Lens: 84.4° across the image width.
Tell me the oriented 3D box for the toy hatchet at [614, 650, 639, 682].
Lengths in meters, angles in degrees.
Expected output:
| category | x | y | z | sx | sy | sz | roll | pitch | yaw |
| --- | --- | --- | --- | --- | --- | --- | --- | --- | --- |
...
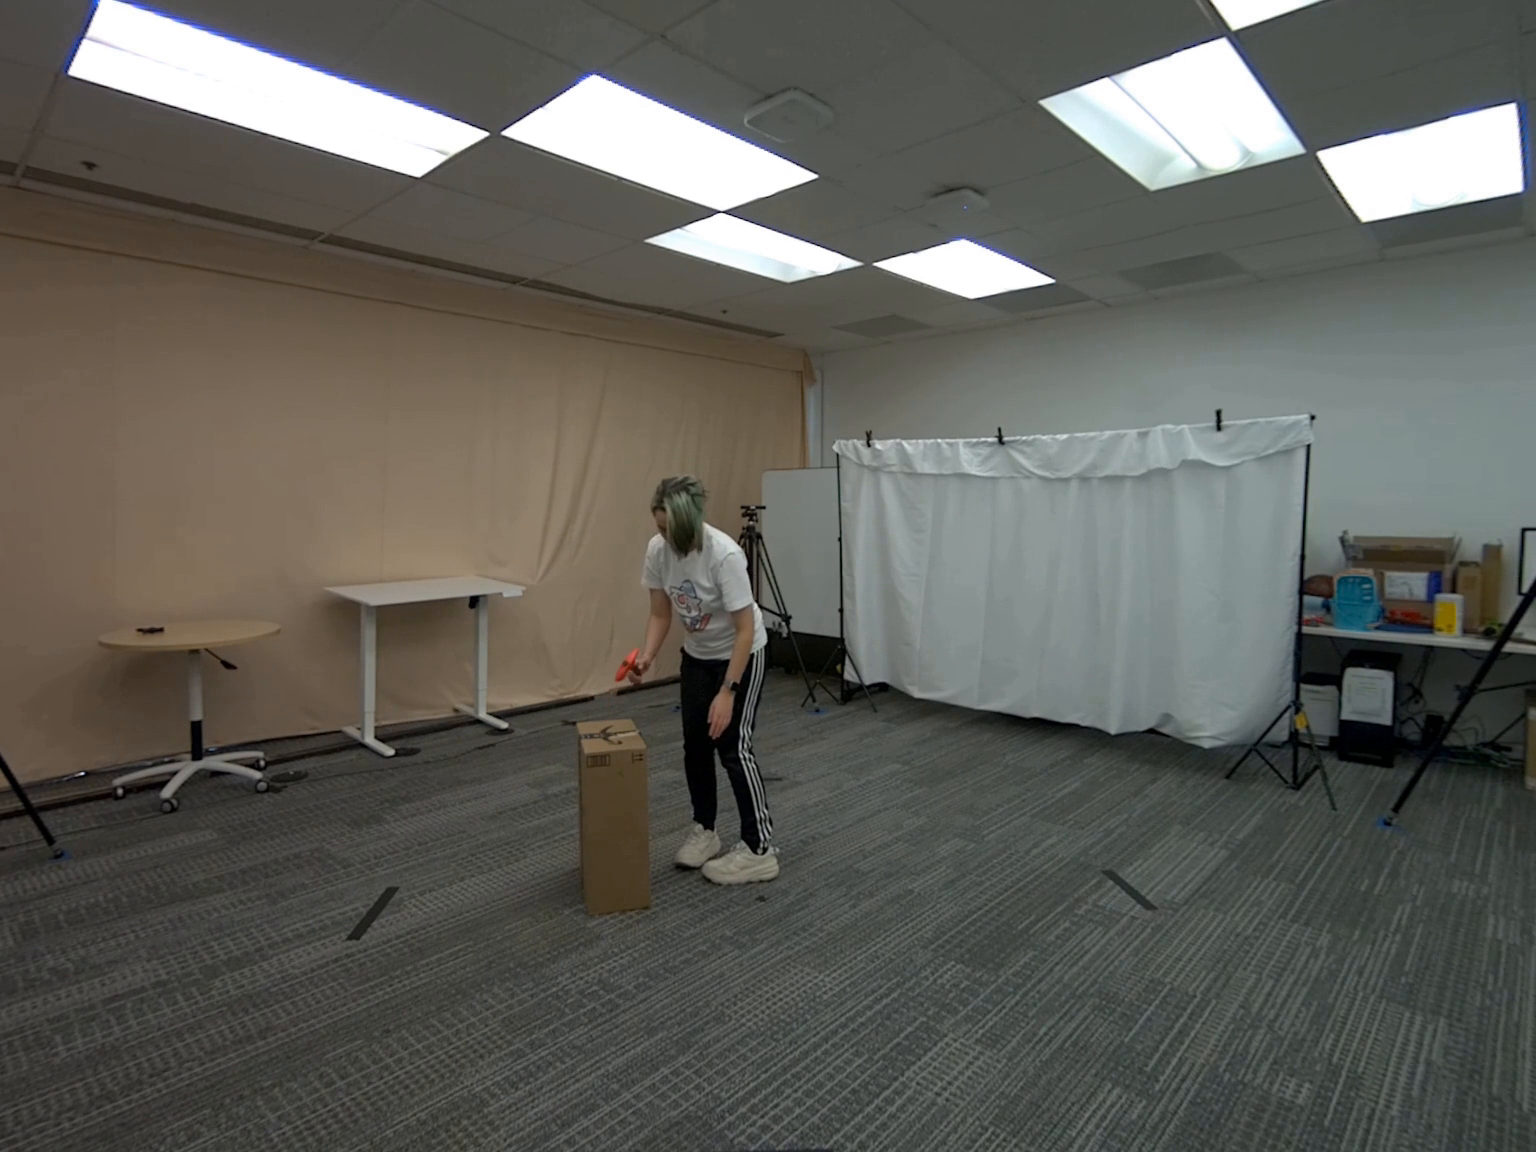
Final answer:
| category | x | y | z | sx | sy | sz | roll | pitch | yaw |
| --- | --- | --- | --- | --- | --- | --- | --- | --- | --- |
| toy hatchet | -0.486 | 0.361 | 2.977 | 0.030 | 0.131 | 0.266 | 25 | -29 | 13 |
